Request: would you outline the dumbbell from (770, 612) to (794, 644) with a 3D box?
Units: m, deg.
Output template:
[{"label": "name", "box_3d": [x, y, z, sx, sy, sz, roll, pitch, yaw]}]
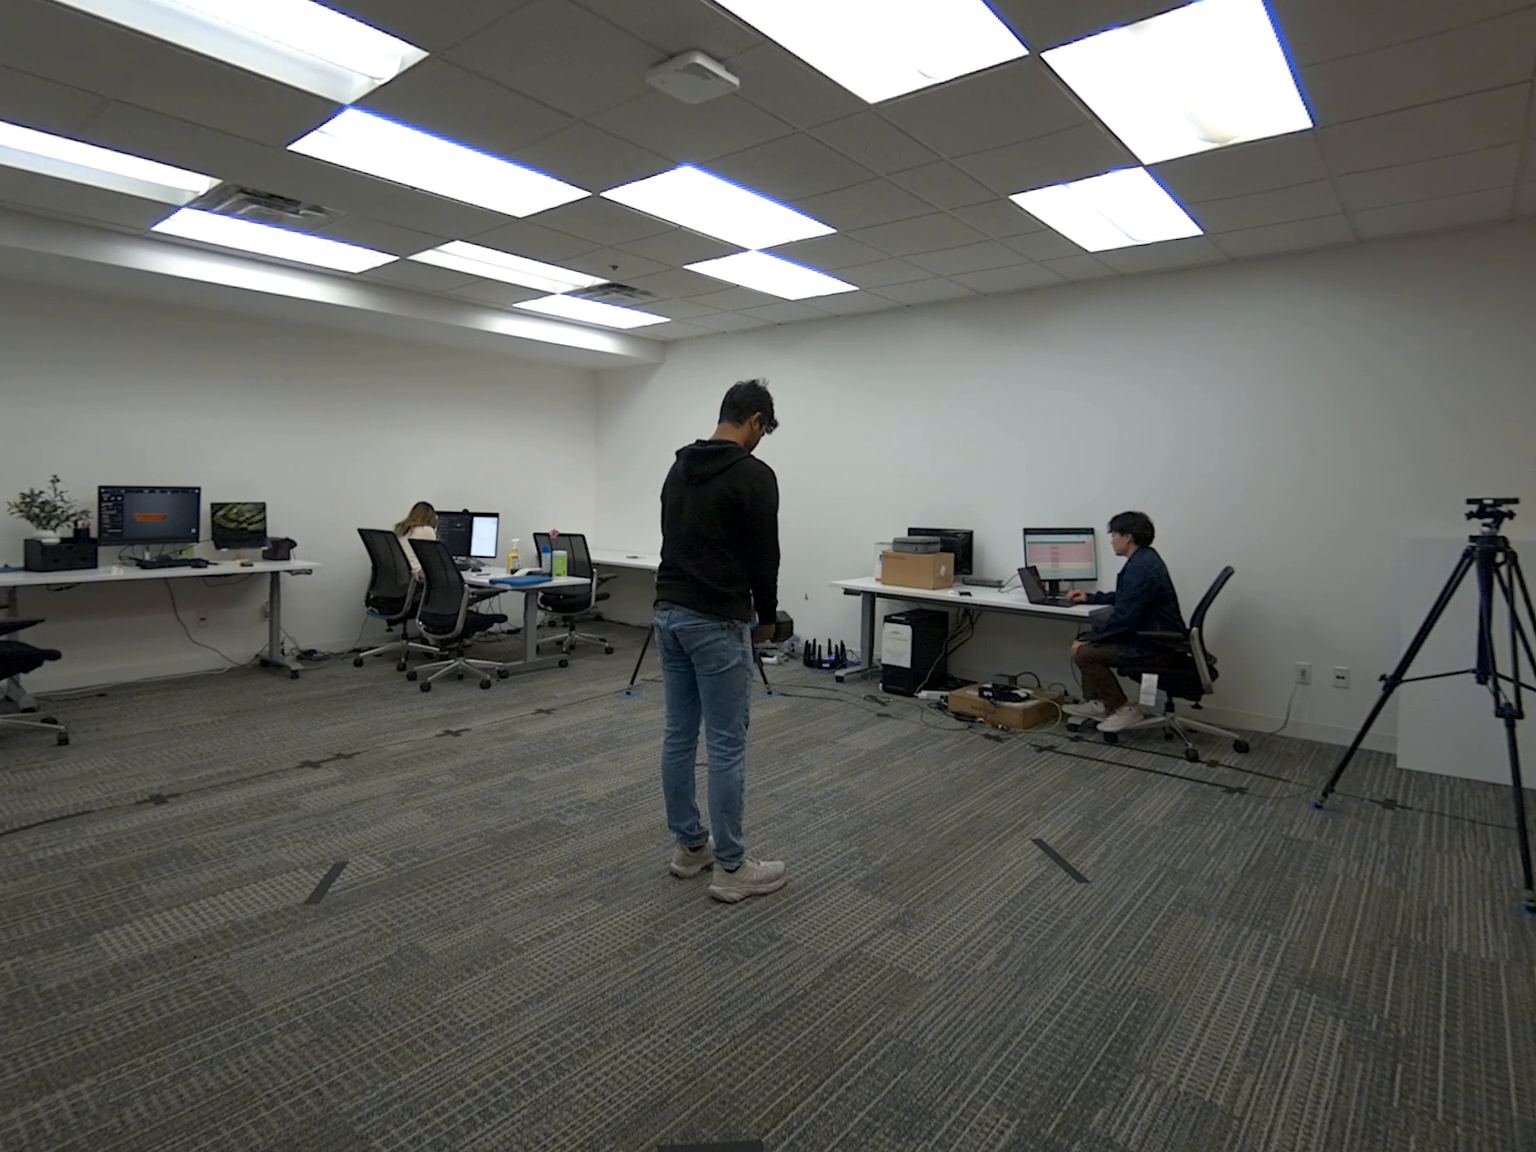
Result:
[{"label": "dumbbell", "box_3d": [-0.054, 0.208, 3.187, 0.286, 0.122, 0.112, -7, 7, -34]}]
